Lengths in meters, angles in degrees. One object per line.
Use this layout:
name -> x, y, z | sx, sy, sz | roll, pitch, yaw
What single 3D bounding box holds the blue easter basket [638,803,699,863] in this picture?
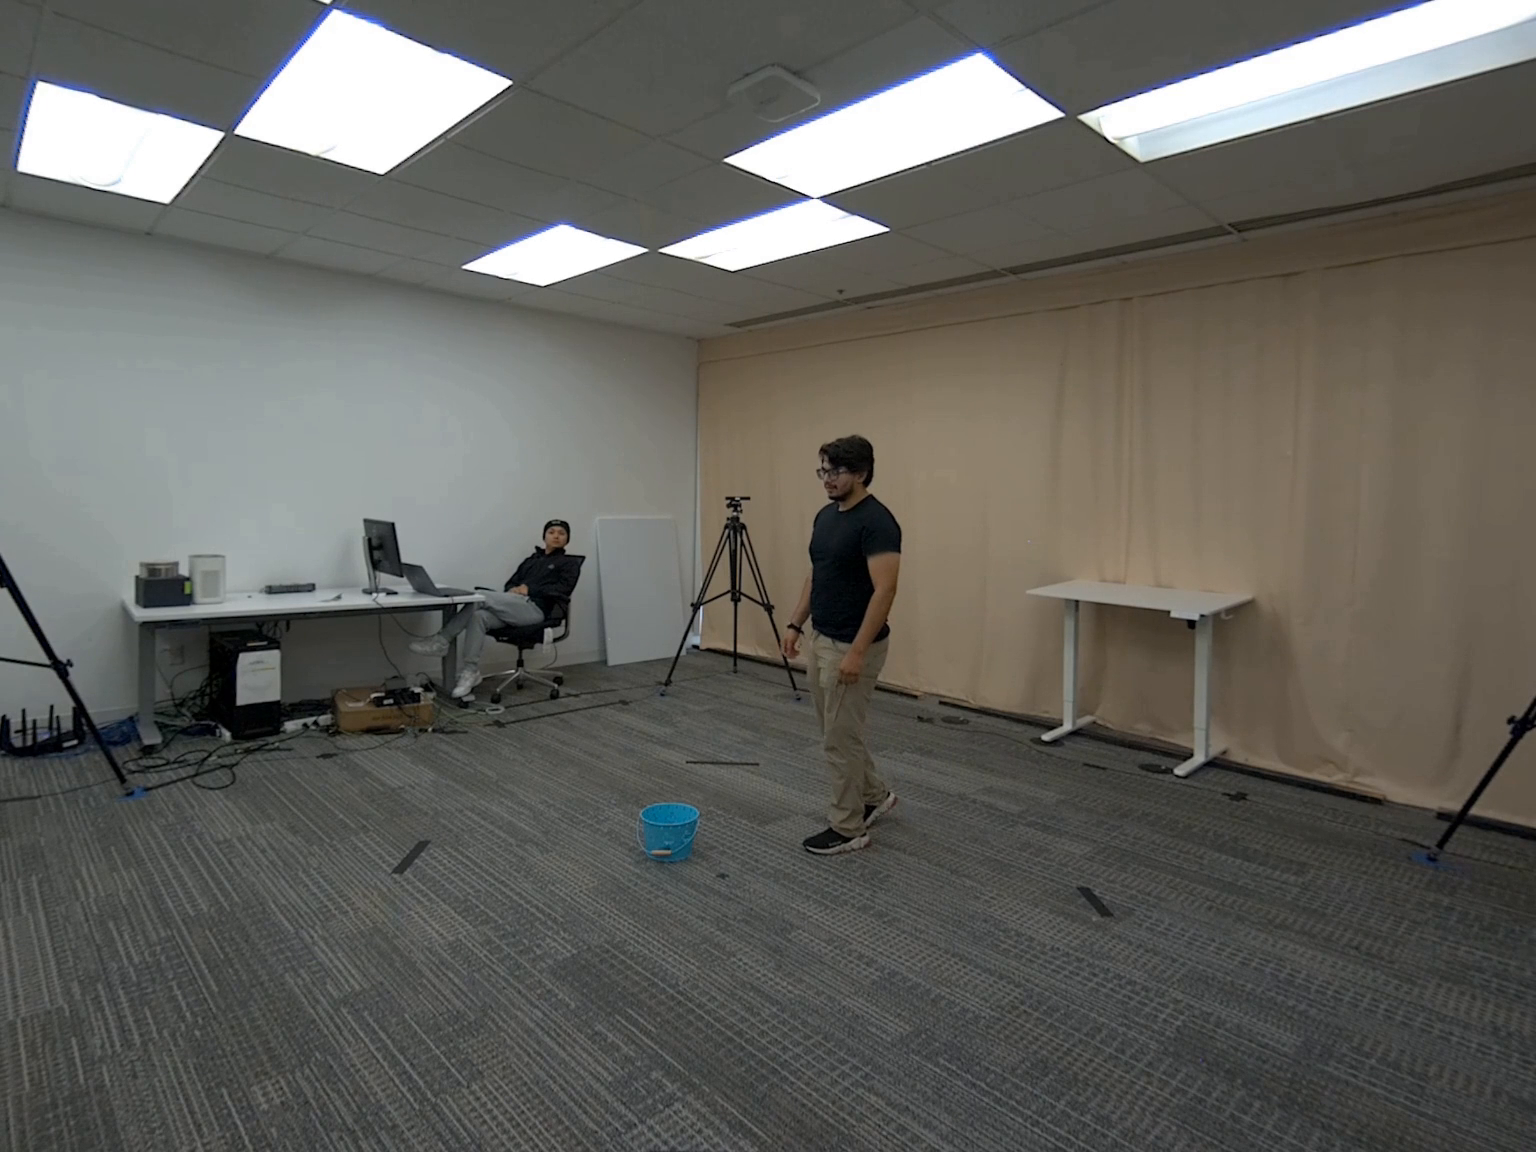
blue easter basket -> -0.395, 1.004, 3.301 | 0.243, 0.155, 0.244 | 1, 5, -1
